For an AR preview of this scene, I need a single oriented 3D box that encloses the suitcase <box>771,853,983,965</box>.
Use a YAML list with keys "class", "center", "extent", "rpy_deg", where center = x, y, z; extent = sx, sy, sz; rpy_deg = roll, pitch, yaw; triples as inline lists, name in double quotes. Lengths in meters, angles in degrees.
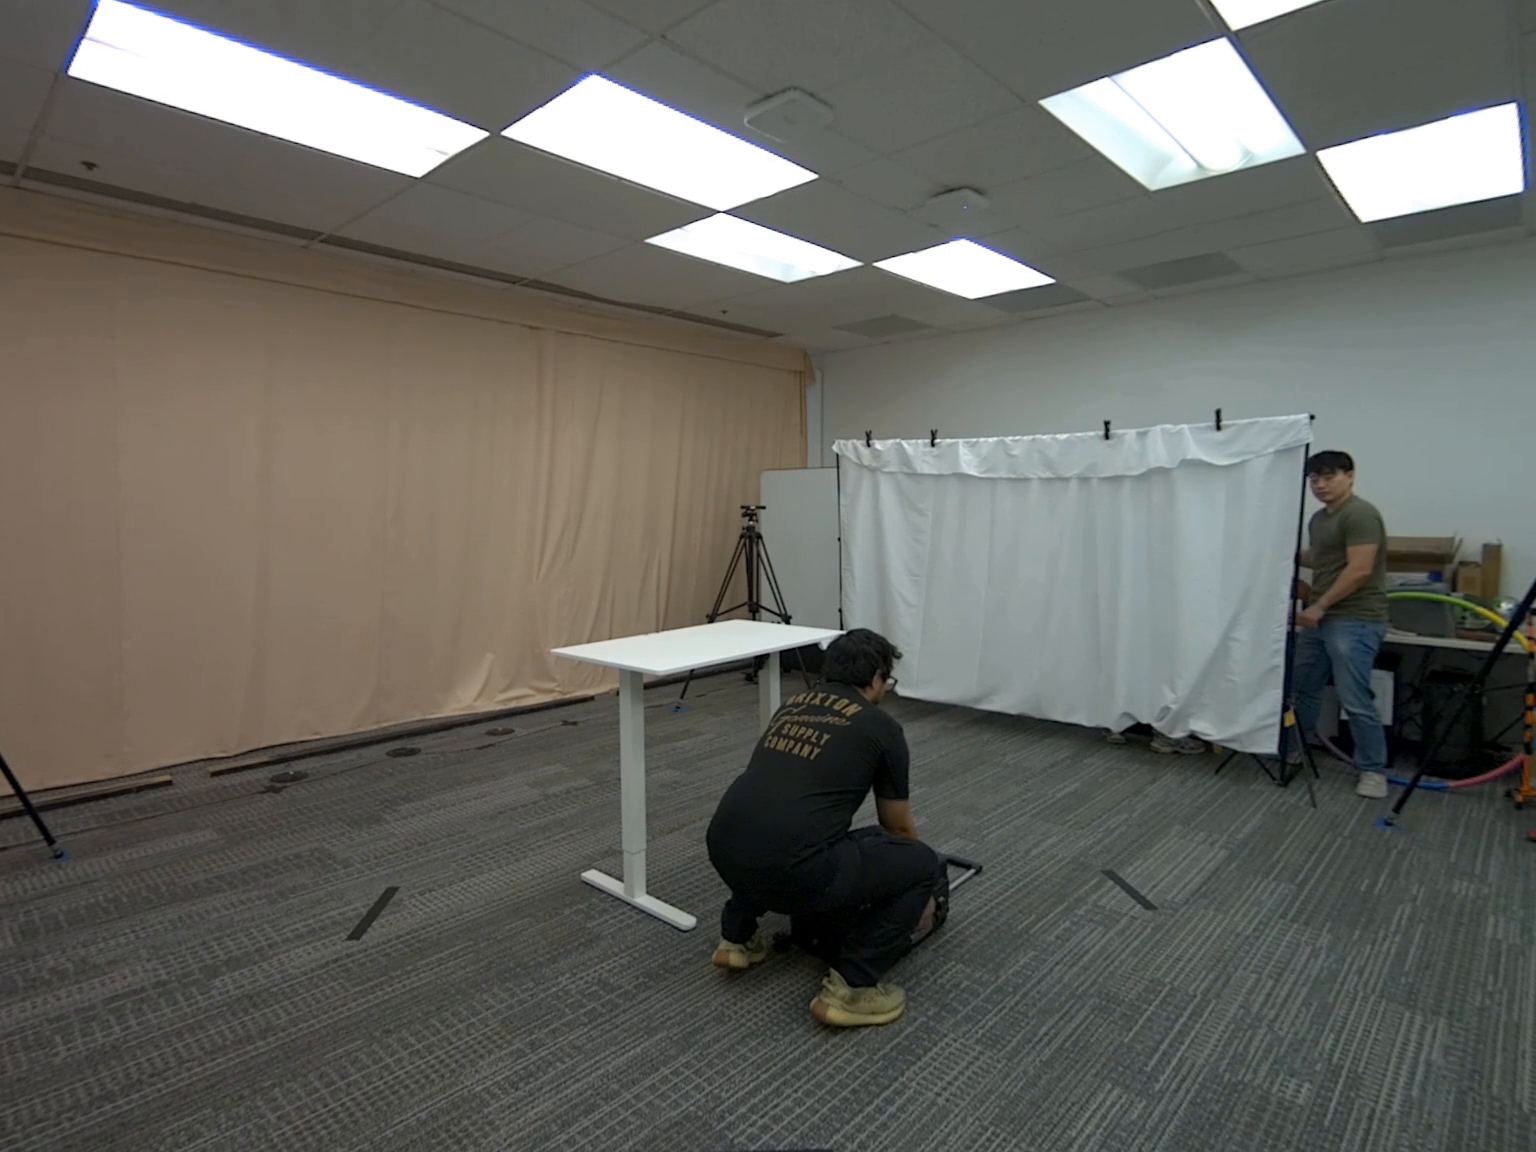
- class: "suitcase"
  center: [0.469, 1.028, 2.872]
  extent: [0.396, 0.256, 0.951]
  rpy_deg: [2, 7, 38]
